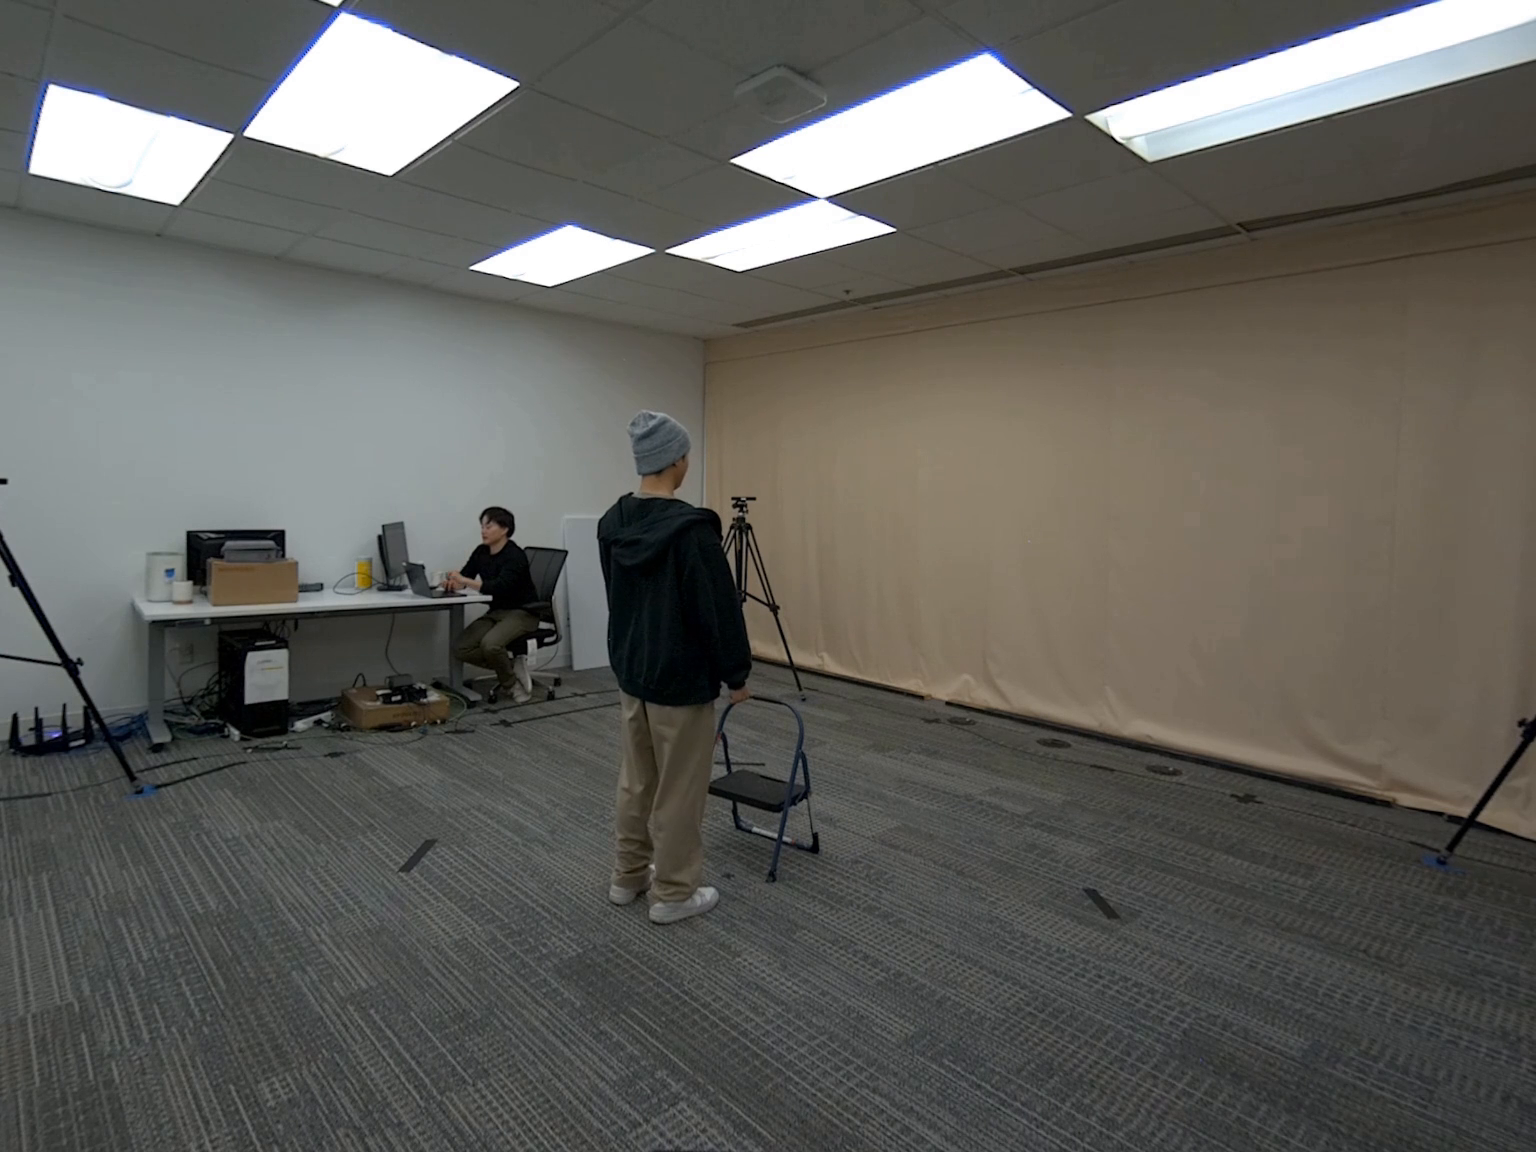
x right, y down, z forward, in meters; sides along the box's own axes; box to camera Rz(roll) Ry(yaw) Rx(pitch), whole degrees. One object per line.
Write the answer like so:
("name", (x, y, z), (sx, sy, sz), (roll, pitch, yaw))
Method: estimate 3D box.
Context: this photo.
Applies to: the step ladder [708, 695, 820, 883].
("step ladder", (-0.056, 0.788, 3.305), (0.441, 0.604, 0.342), (4, 4, 36))
